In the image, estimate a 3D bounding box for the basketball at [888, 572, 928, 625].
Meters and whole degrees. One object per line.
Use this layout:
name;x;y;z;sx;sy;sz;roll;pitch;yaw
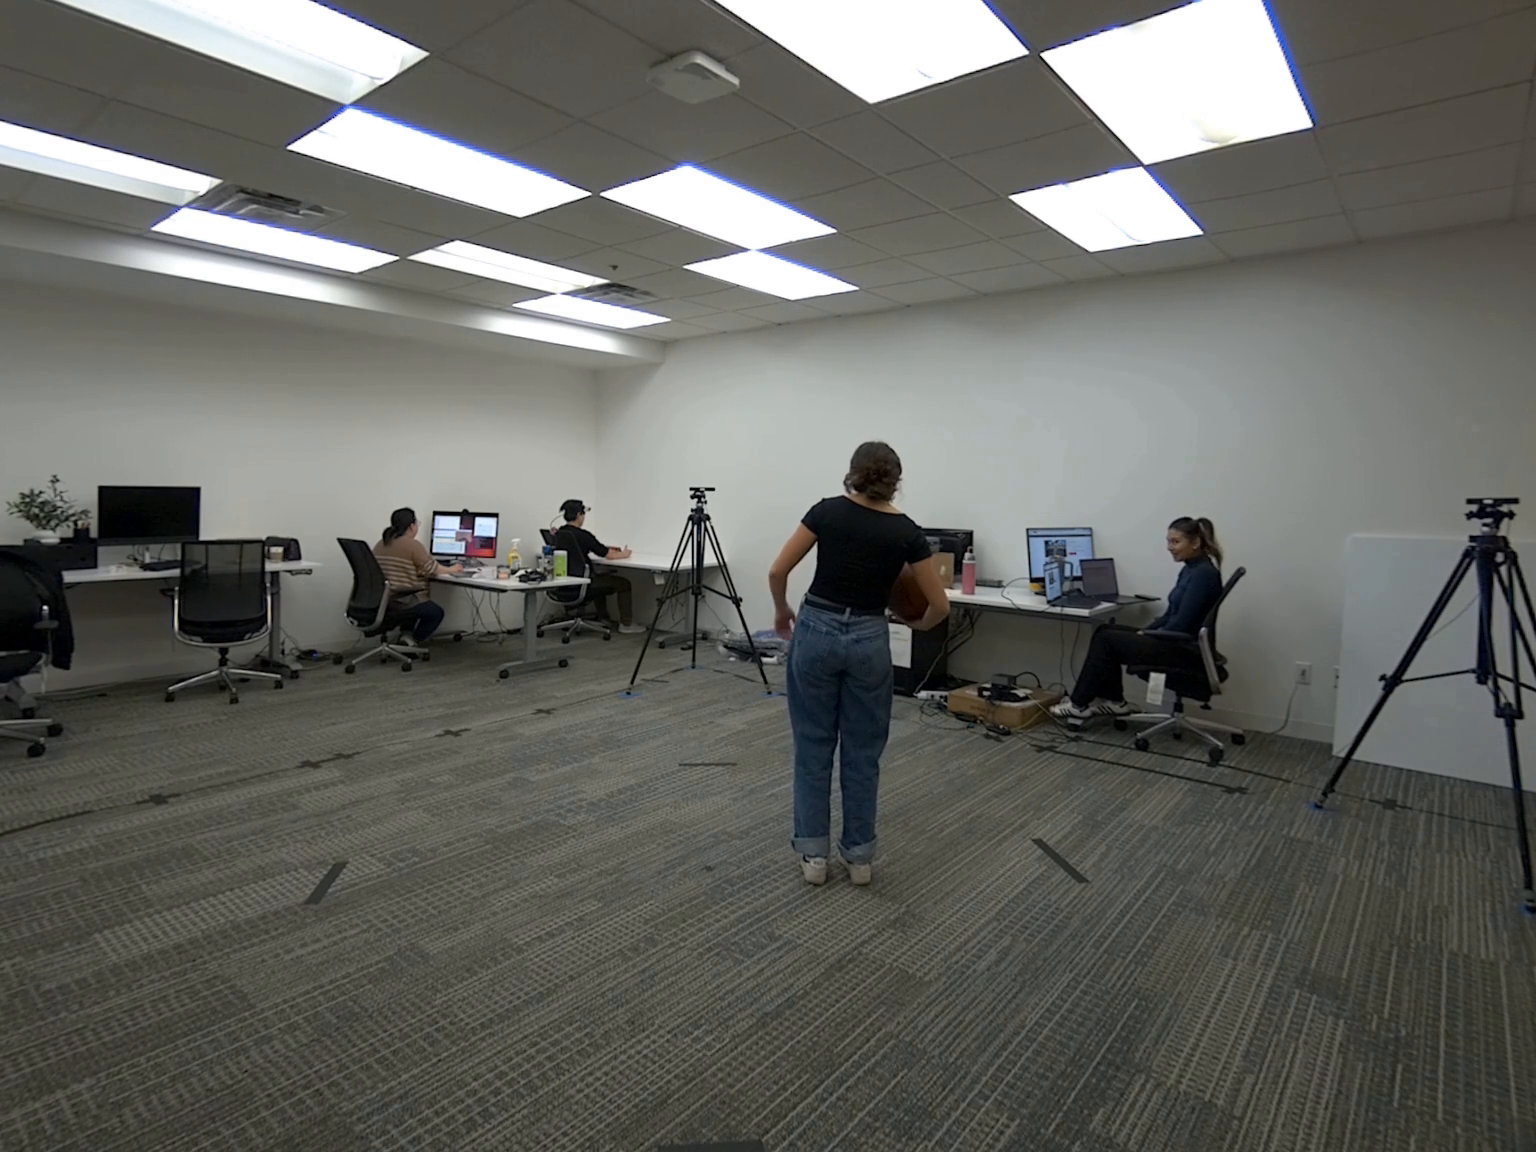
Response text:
basketball;0.522;0.034;3.240;0.235;0.235;0.237;1;4;-2
